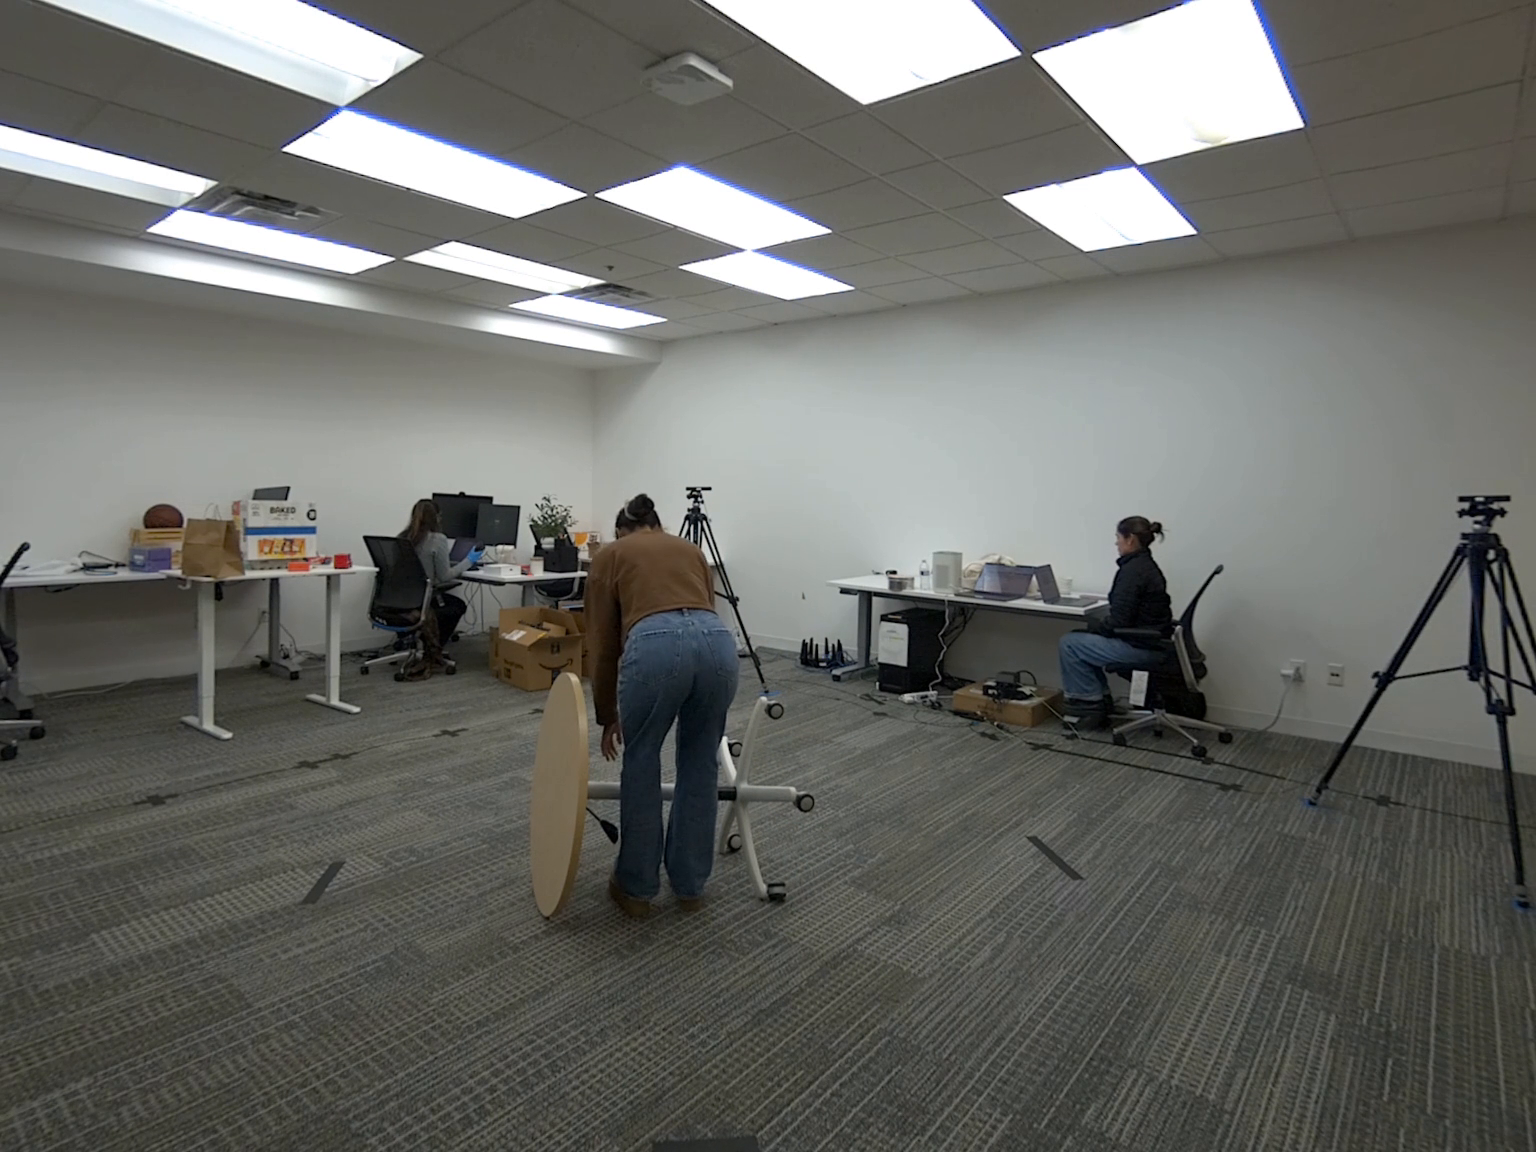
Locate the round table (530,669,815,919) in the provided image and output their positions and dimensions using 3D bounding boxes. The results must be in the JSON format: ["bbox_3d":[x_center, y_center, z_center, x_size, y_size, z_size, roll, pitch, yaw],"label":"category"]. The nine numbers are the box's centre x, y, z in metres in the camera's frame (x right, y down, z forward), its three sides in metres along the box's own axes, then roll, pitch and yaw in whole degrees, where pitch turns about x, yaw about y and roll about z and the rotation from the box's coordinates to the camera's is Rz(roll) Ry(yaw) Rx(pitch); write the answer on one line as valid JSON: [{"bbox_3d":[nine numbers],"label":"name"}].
[{"bbox_3d":[-0.356,0.754,2.949,0.776,0.764,0.782,8,1,-21],"label":"round table"}]
